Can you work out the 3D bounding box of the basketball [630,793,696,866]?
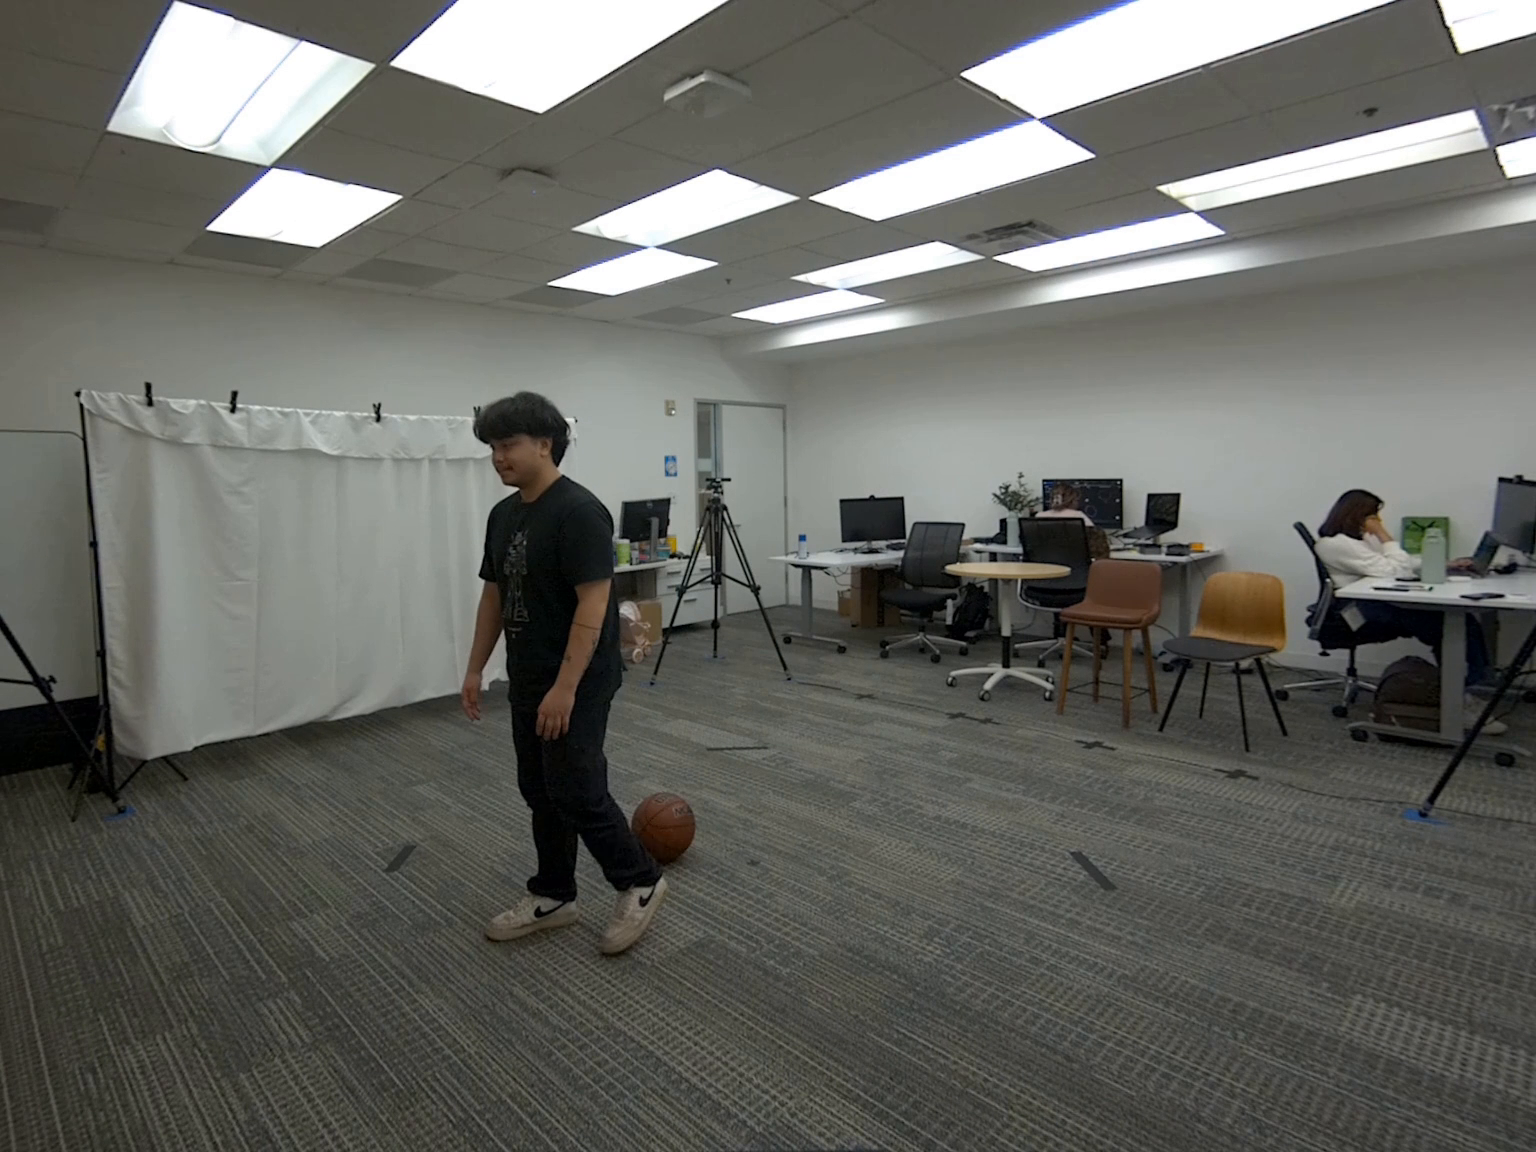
[{"bbox_3d":[-0.382,0.923,3.154,0.236,0.235,0.237,-1,5,-2],"label":"basketball"}]
